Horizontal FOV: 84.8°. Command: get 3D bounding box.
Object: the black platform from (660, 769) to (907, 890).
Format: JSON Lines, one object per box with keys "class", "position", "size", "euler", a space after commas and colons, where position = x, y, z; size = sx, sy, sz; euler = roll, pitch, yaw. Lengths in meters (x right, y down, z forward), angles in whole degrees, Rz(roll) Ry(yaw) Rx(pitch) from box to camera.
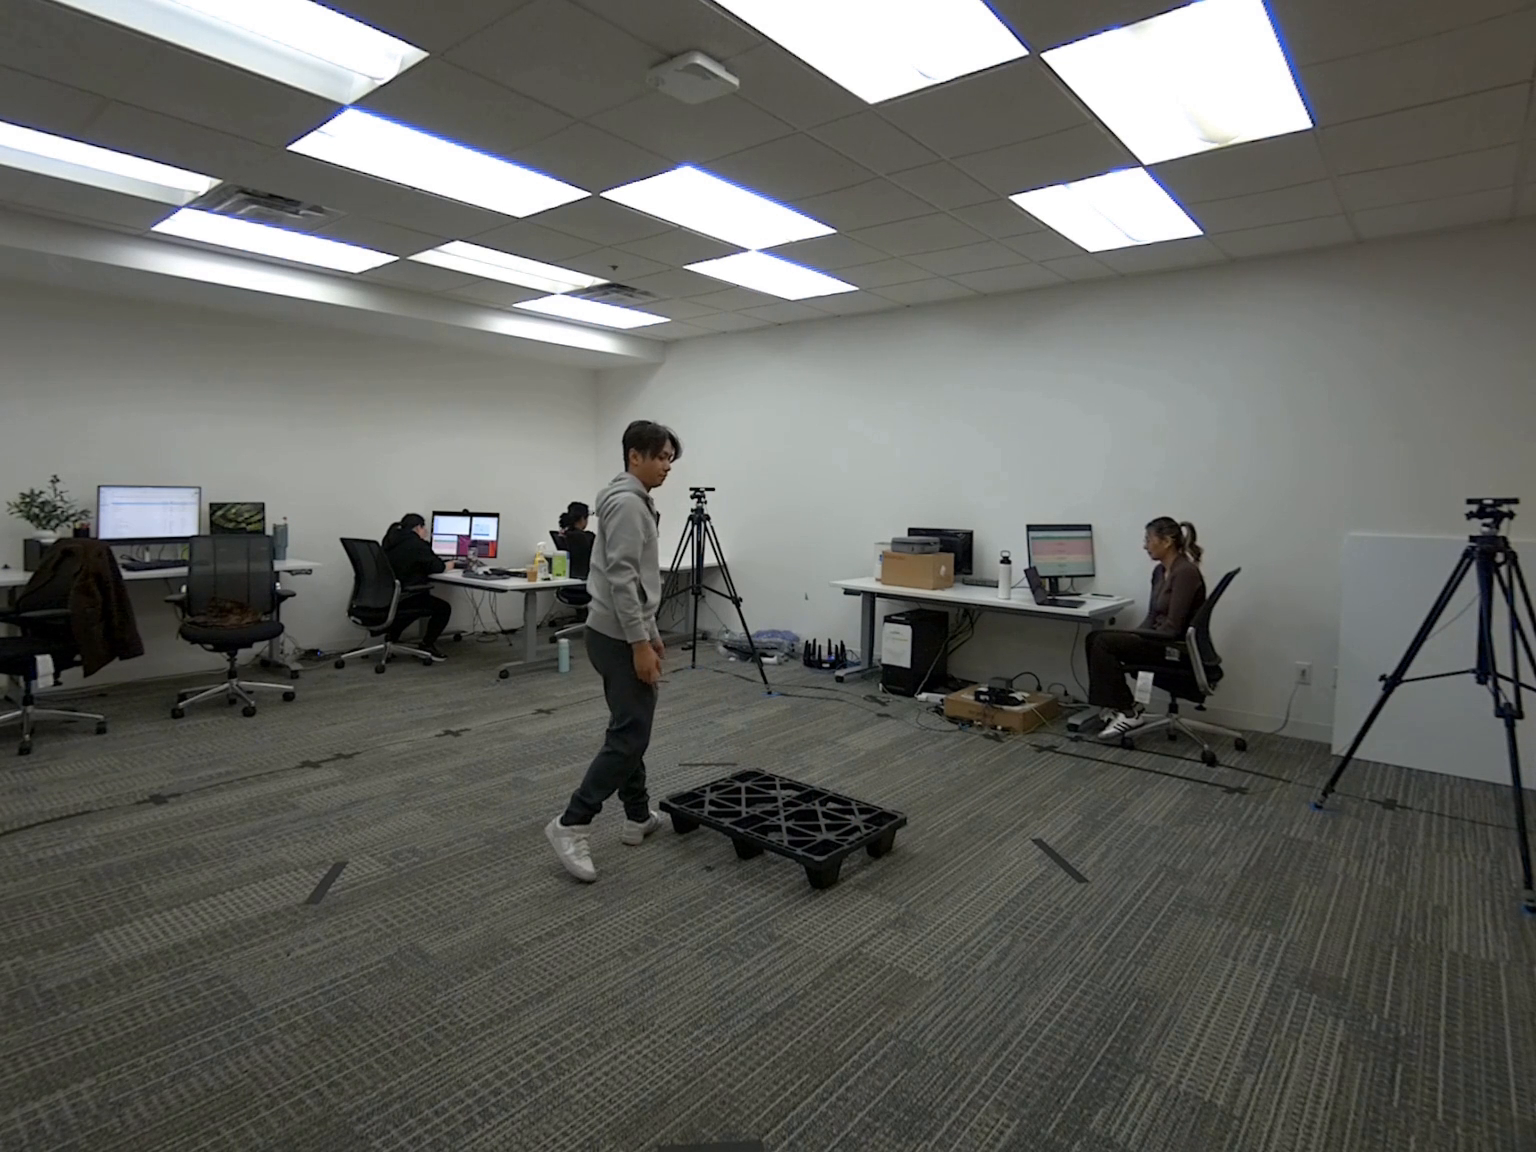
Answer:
{"class": "black platform", "position": [0.043, 0.981, 3.363], "size": [0.833, 0.143, 0.587], "euler": [6, 8, 41]}
